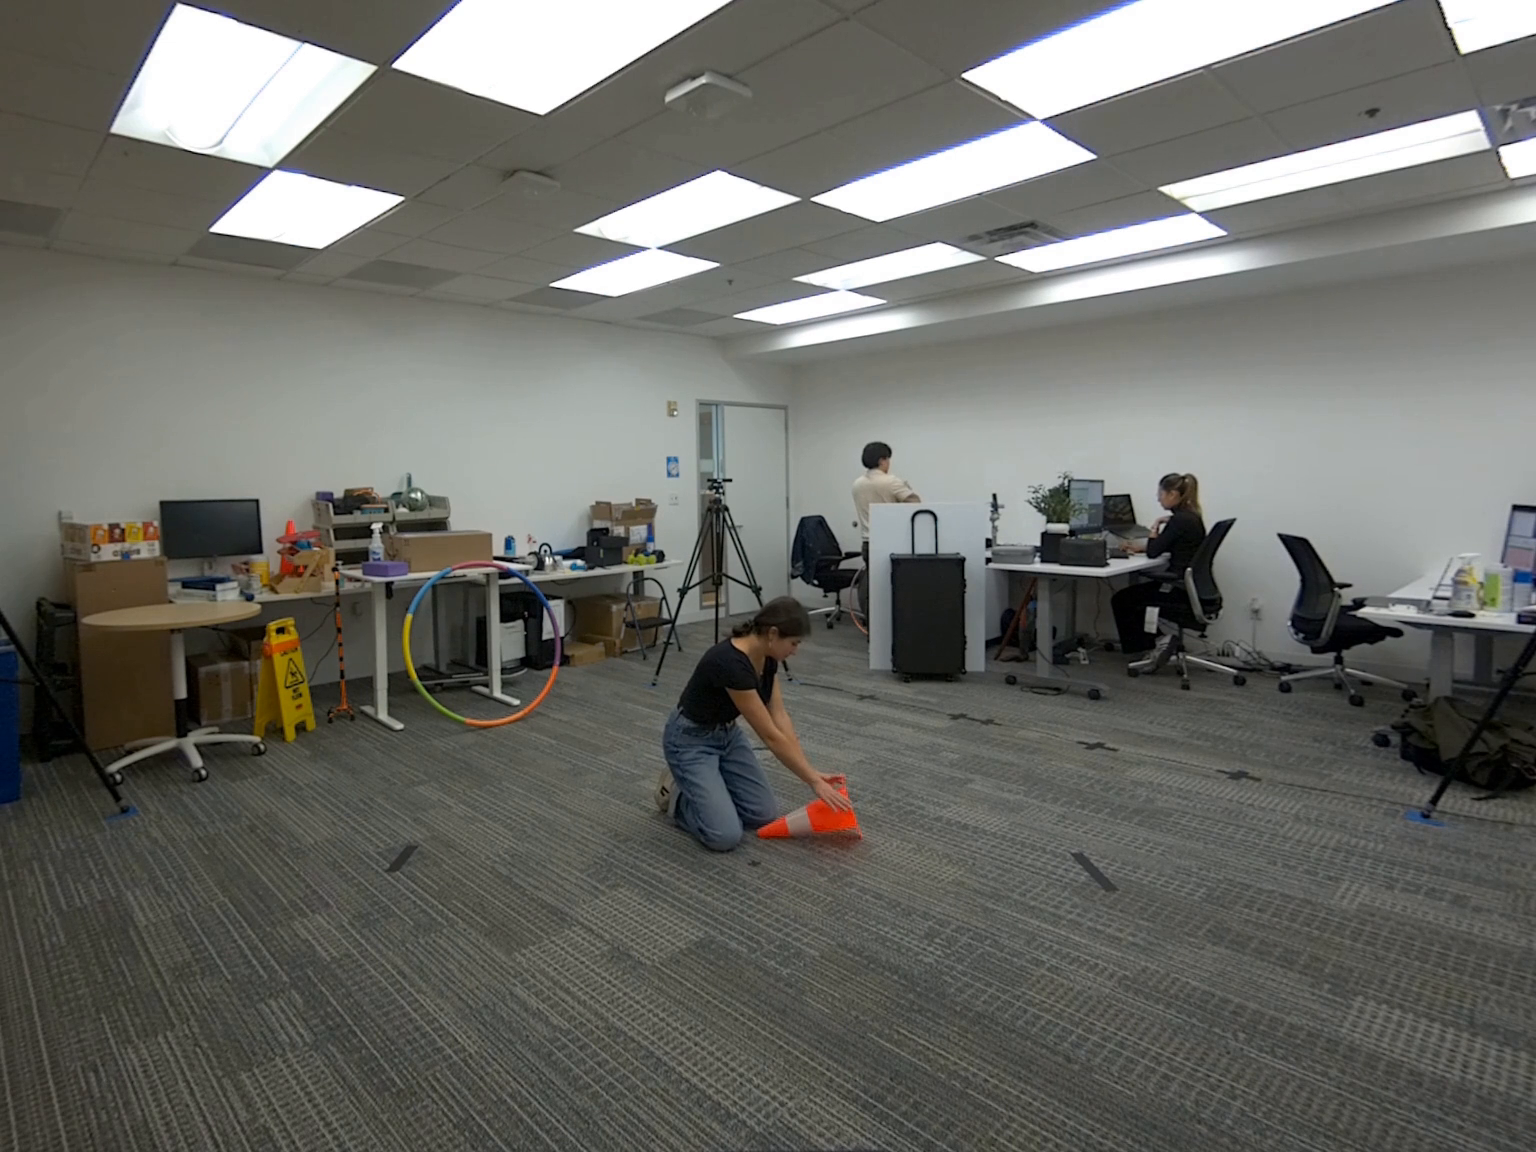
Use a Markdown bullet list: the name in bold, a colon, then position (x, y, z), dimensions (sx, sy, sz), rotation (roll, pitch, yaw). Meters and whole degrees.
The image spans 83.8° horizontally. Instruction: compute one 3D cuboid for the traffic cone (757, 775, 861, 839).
- **traffic cone**: position (0.148, 0.955, 3.318), dimensions (0.384, 0.202, 0.206), rotation (-18, 13, 2)
